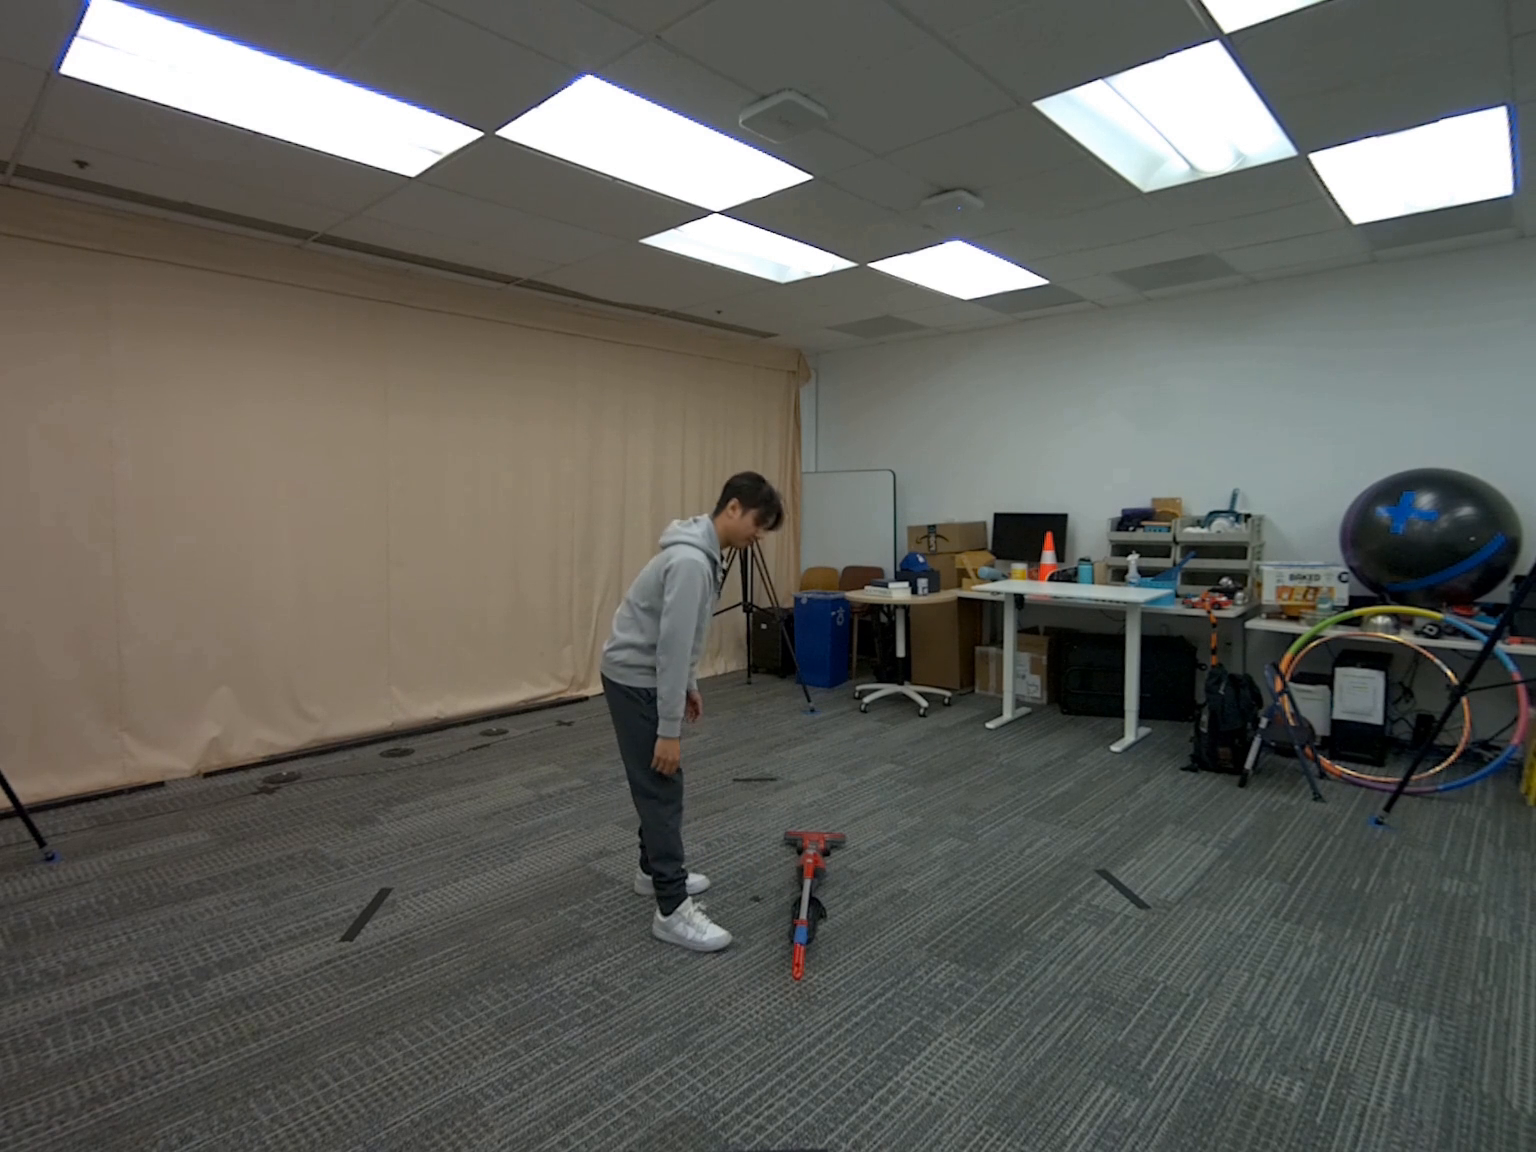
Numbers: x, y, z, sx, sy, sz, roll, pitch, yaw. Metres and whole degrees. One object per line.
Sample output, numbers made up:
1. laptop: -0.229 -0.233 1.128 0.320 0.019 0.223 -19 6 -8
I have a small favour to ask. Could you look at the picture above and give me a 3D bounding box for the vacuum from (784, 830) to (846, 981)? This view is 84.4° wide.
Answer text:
1. vacuum: 0.132 1.088 2.891 0.254 0.144 1.043 2 3 5
